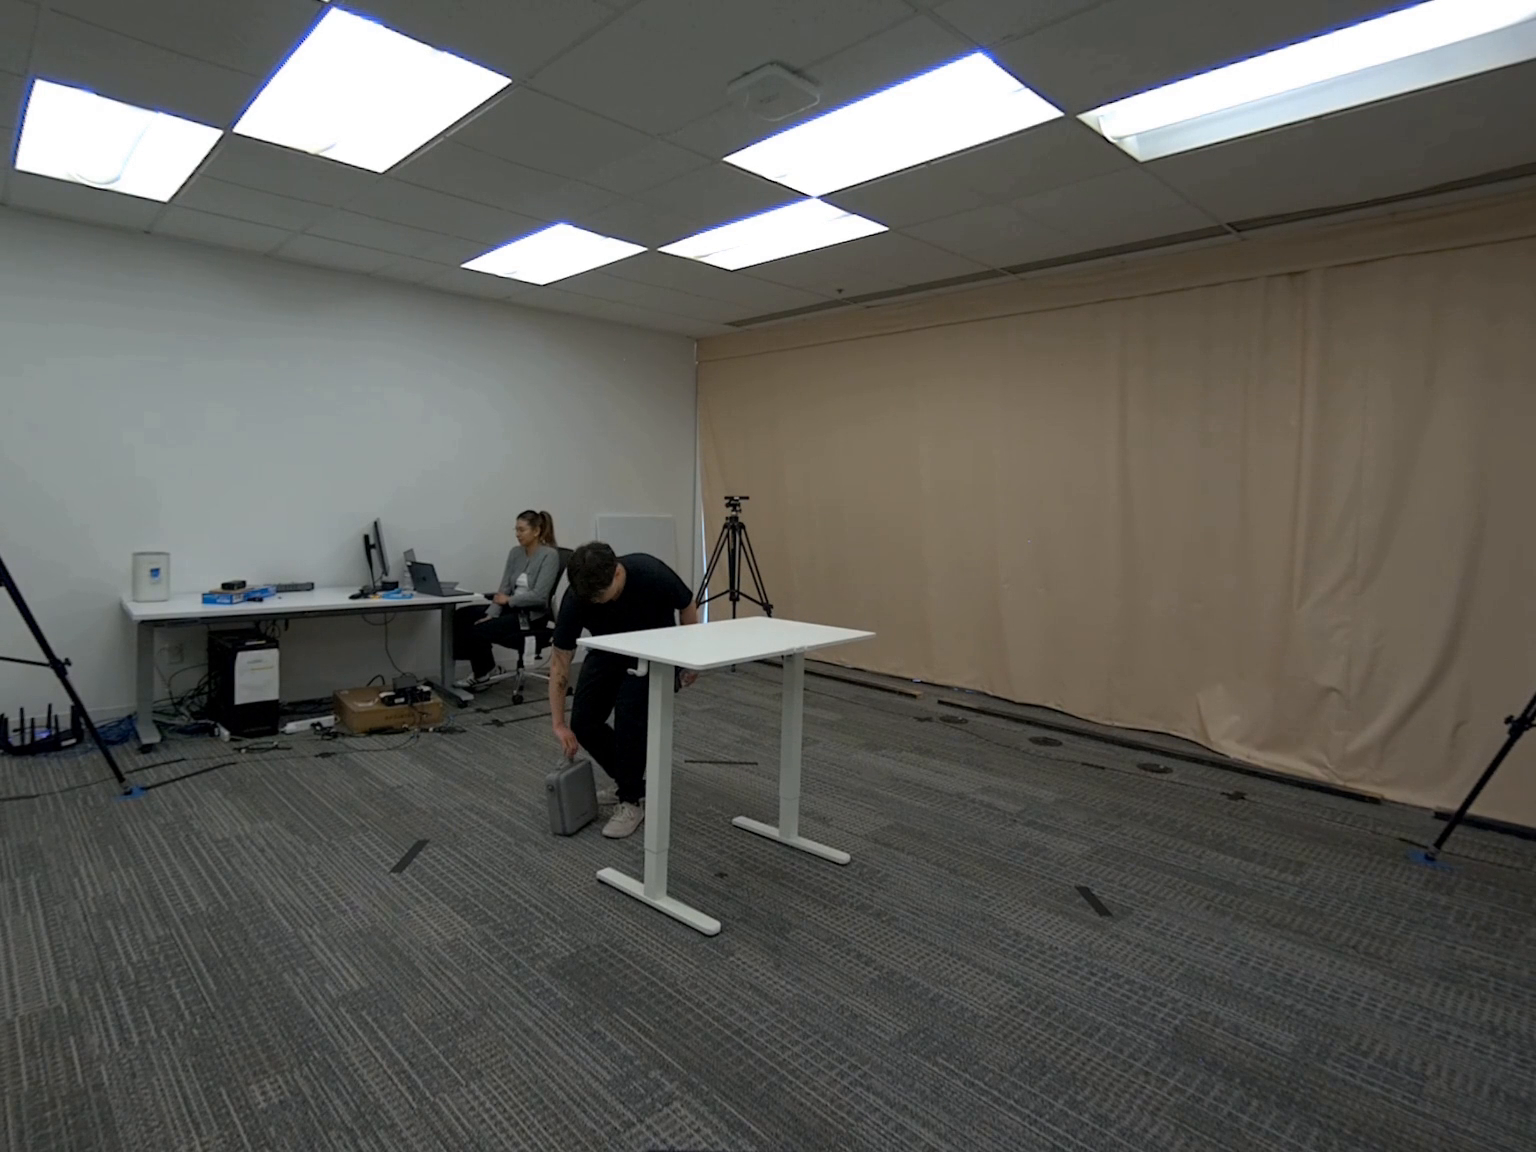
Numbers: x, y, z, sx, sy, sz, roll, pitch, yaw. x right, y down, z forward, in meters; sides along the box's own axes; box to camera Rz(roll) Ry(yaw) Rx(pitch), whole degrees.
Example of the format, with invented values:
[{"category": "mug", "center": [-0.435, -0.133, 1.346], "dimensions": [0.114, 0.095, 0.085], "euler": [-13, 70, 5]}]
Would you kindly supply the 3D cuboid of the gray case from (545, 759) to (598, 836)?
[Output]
[{"category": "gray case", "center": [-0.828, 0.913, 3.528], "dimensions": [0.105, 0.260, 0.254], "euler": [-8, 1, 18]}]
